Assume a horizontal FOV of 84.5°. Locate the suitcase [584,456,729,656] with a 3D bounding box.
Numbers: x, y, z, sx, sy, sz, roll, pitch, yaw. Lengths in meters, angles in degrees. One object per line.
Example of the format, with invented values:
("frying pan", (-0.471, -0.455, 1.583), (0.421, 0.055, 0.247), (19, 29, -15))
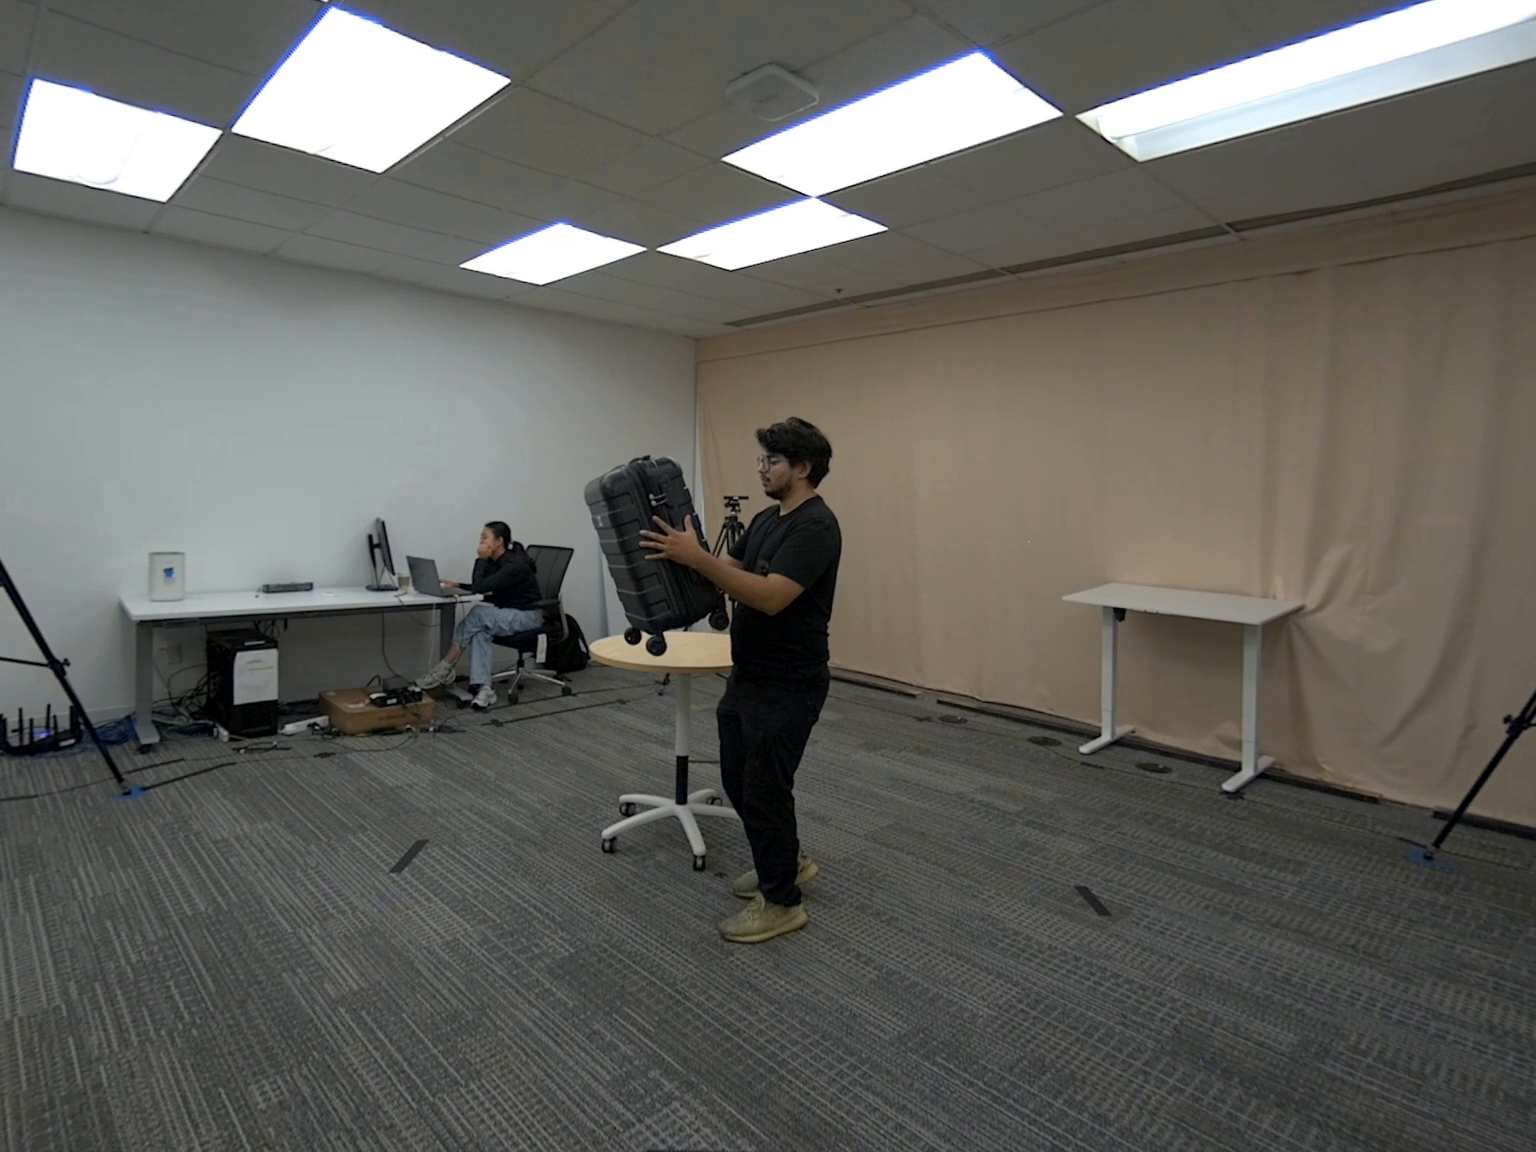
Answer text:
("suitcase", (-0.347, -0.078, 2.552), (0.246, 0.546, 0.381), (-20, 8, -20))
